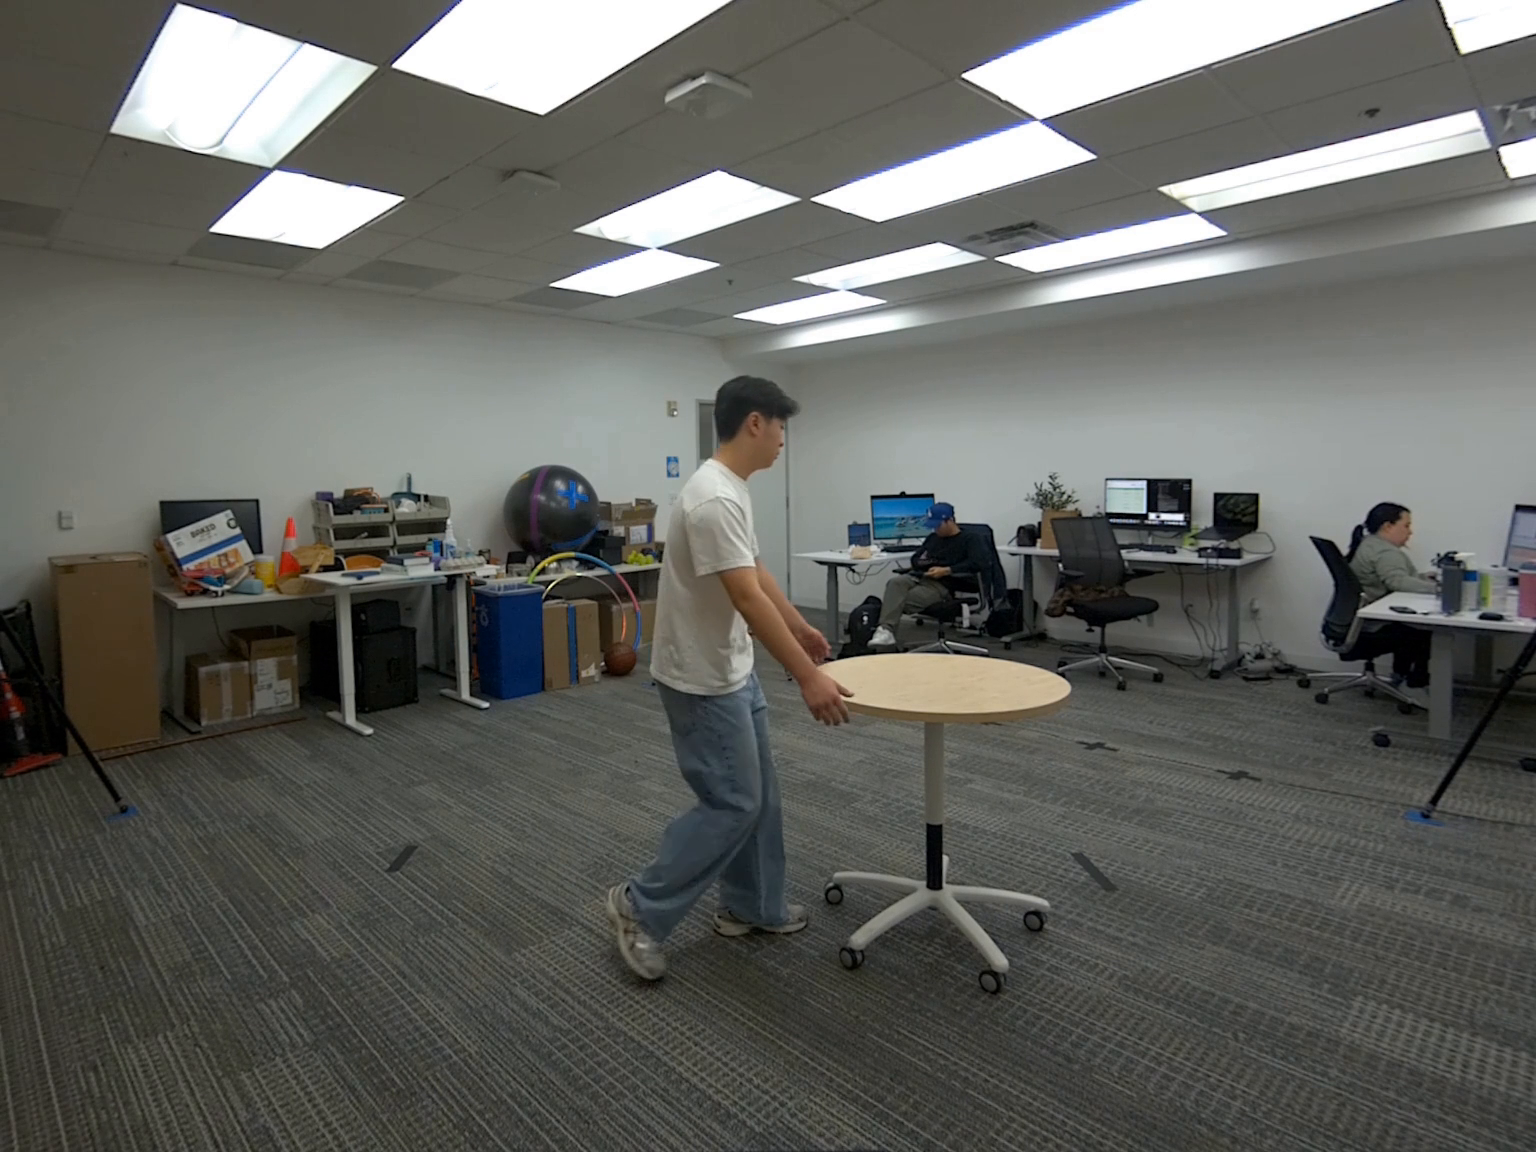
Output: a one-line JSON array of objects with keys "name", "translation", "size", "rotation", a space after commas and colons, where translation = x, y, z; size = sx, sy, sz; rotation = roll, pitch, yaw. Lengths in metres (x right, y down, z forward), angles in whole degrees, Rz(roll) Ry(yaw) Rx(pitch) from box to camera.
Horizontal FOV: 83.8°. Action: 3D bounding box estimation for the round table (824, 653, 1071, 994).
[{"name": "round table", "translation": [0.506, 0.701, 2.609], "size": [0.763, 0.791, 0.768], "rotation": [-1, 5, -2]}]
